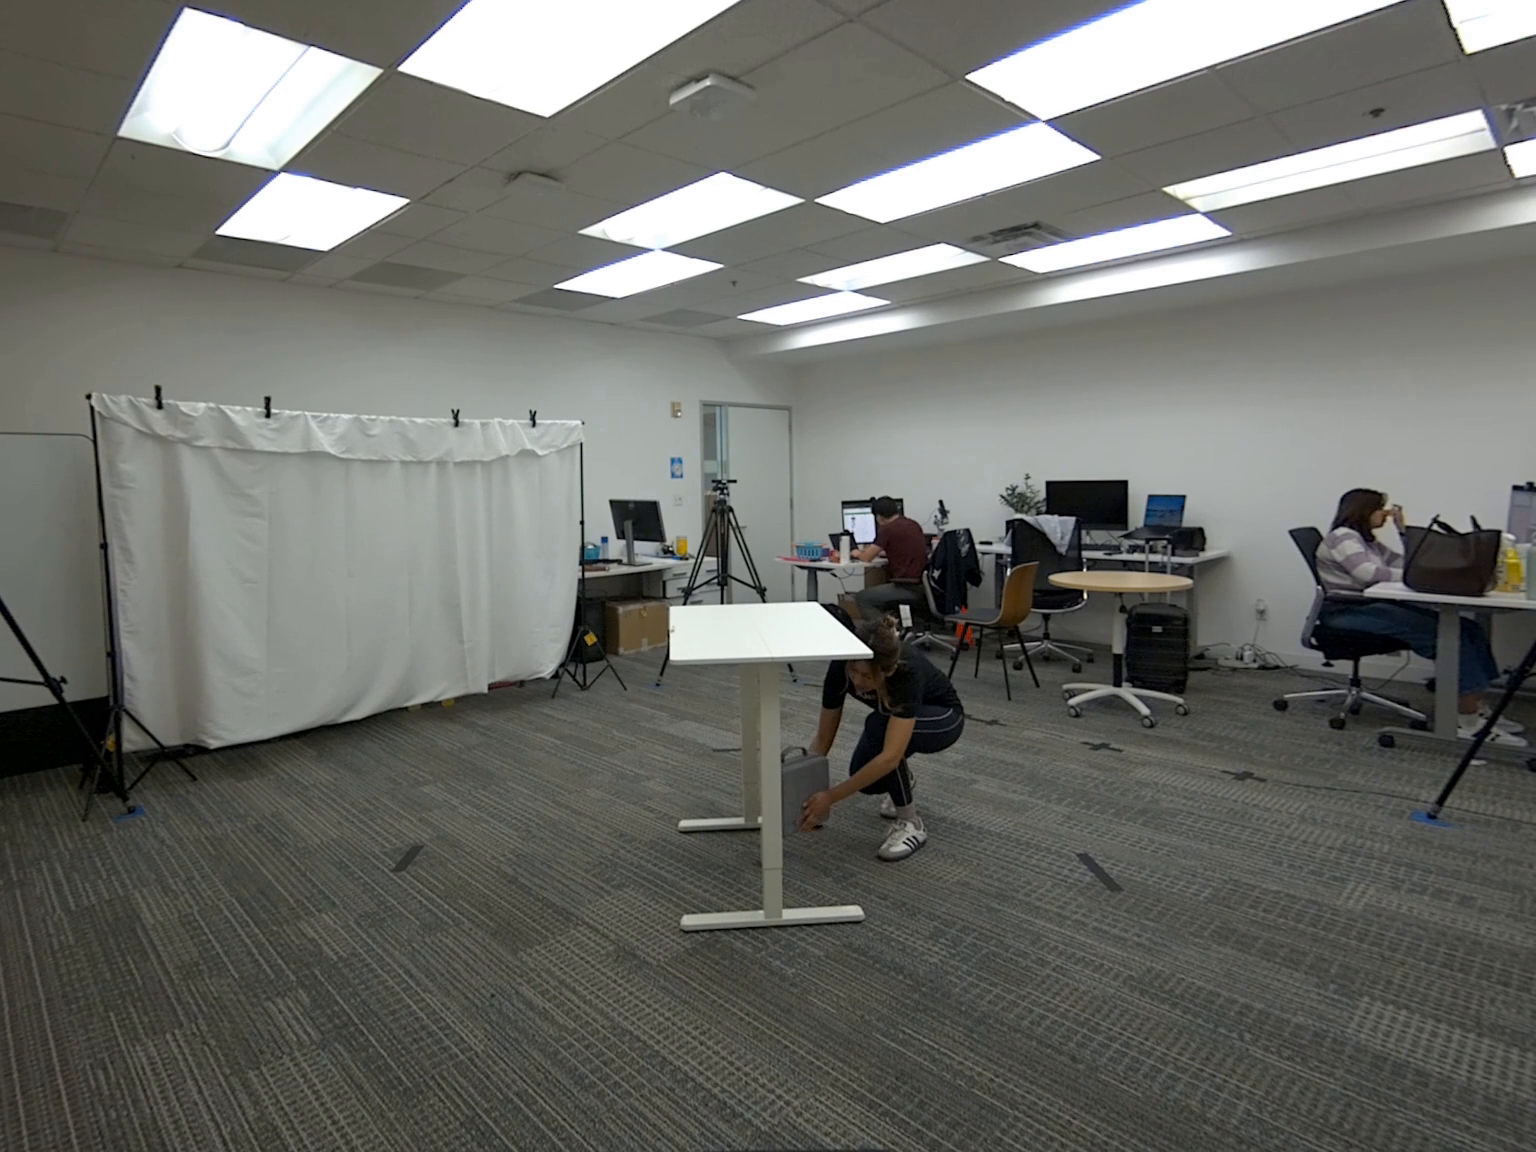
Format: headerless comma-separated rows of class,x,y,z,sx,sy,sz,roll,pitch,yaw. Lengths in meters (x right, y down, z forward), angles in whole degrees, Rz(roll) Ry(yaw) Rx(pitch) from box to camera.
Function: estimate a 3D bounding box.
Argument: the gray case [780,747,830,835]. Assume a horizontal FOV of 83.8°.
gray case,0.111,0.782,3.108,0.250,0.260,0.107,-3,2,-38
